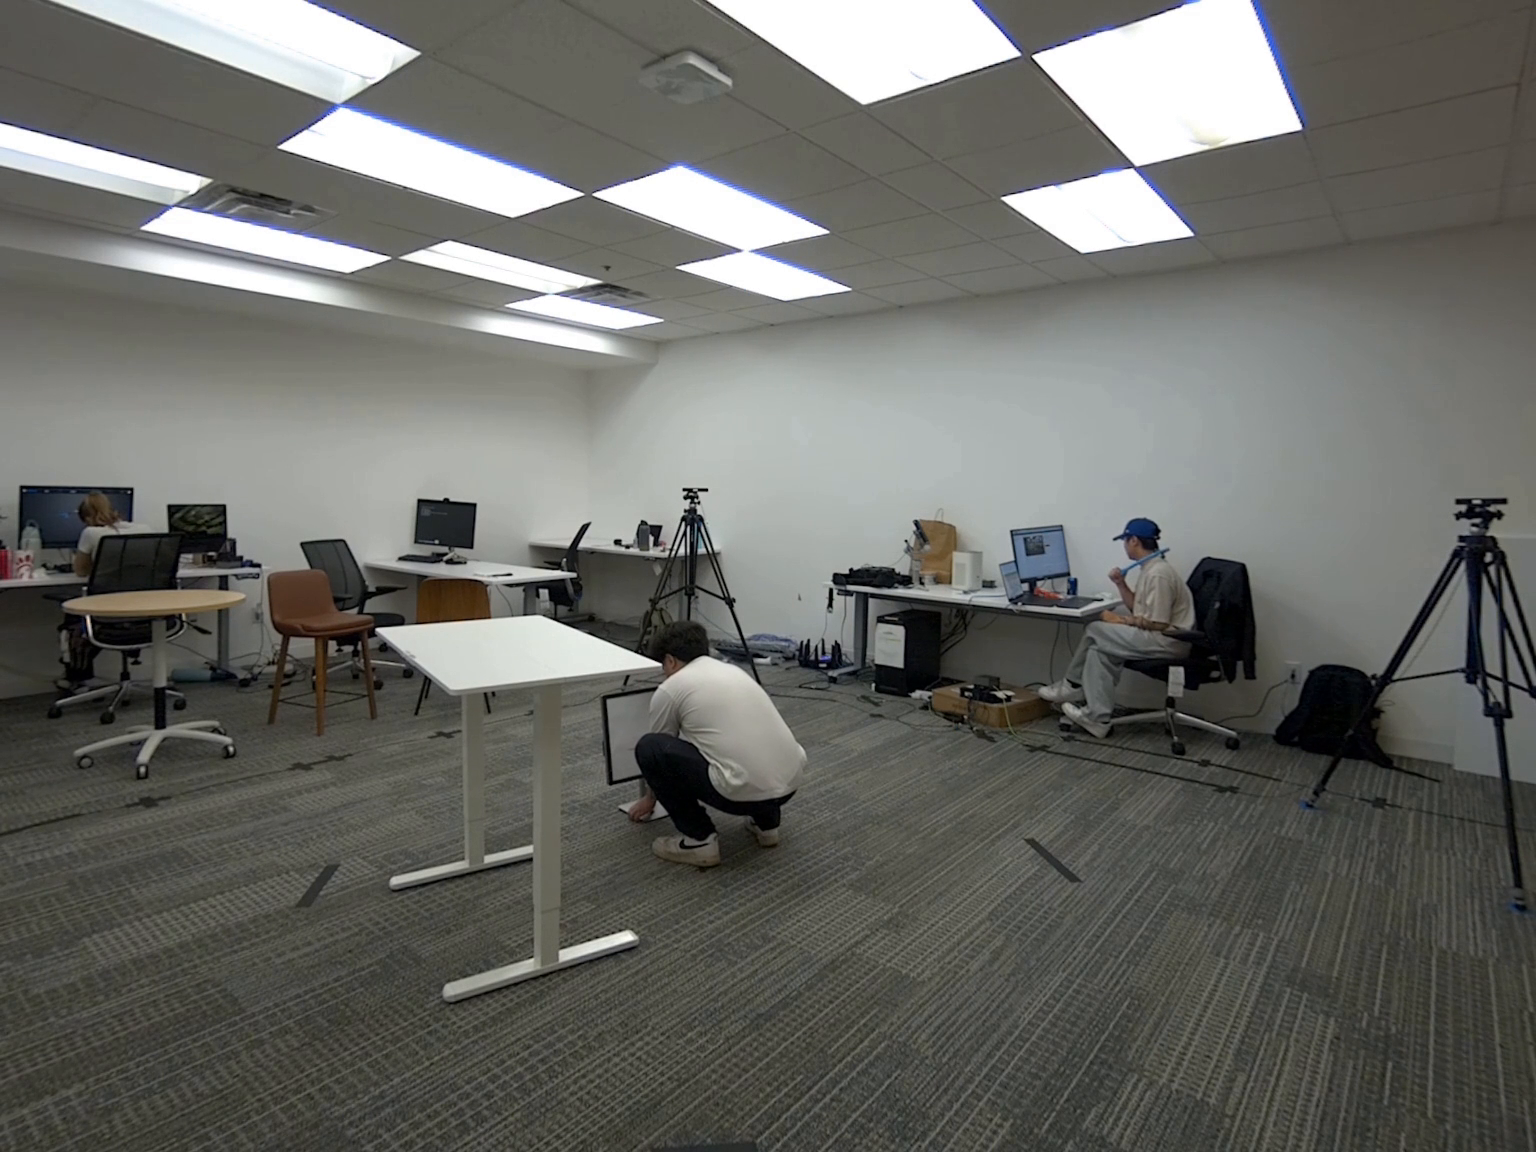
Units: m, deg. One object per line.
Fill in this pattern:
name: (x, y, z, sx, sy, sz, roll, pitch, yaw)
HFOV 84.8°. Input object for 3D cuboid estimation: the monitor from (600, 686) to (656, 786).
monitor: (-0.518, 0.739, 3.690, 0.549, 0.554, 0.216, -4, 1, -42)
